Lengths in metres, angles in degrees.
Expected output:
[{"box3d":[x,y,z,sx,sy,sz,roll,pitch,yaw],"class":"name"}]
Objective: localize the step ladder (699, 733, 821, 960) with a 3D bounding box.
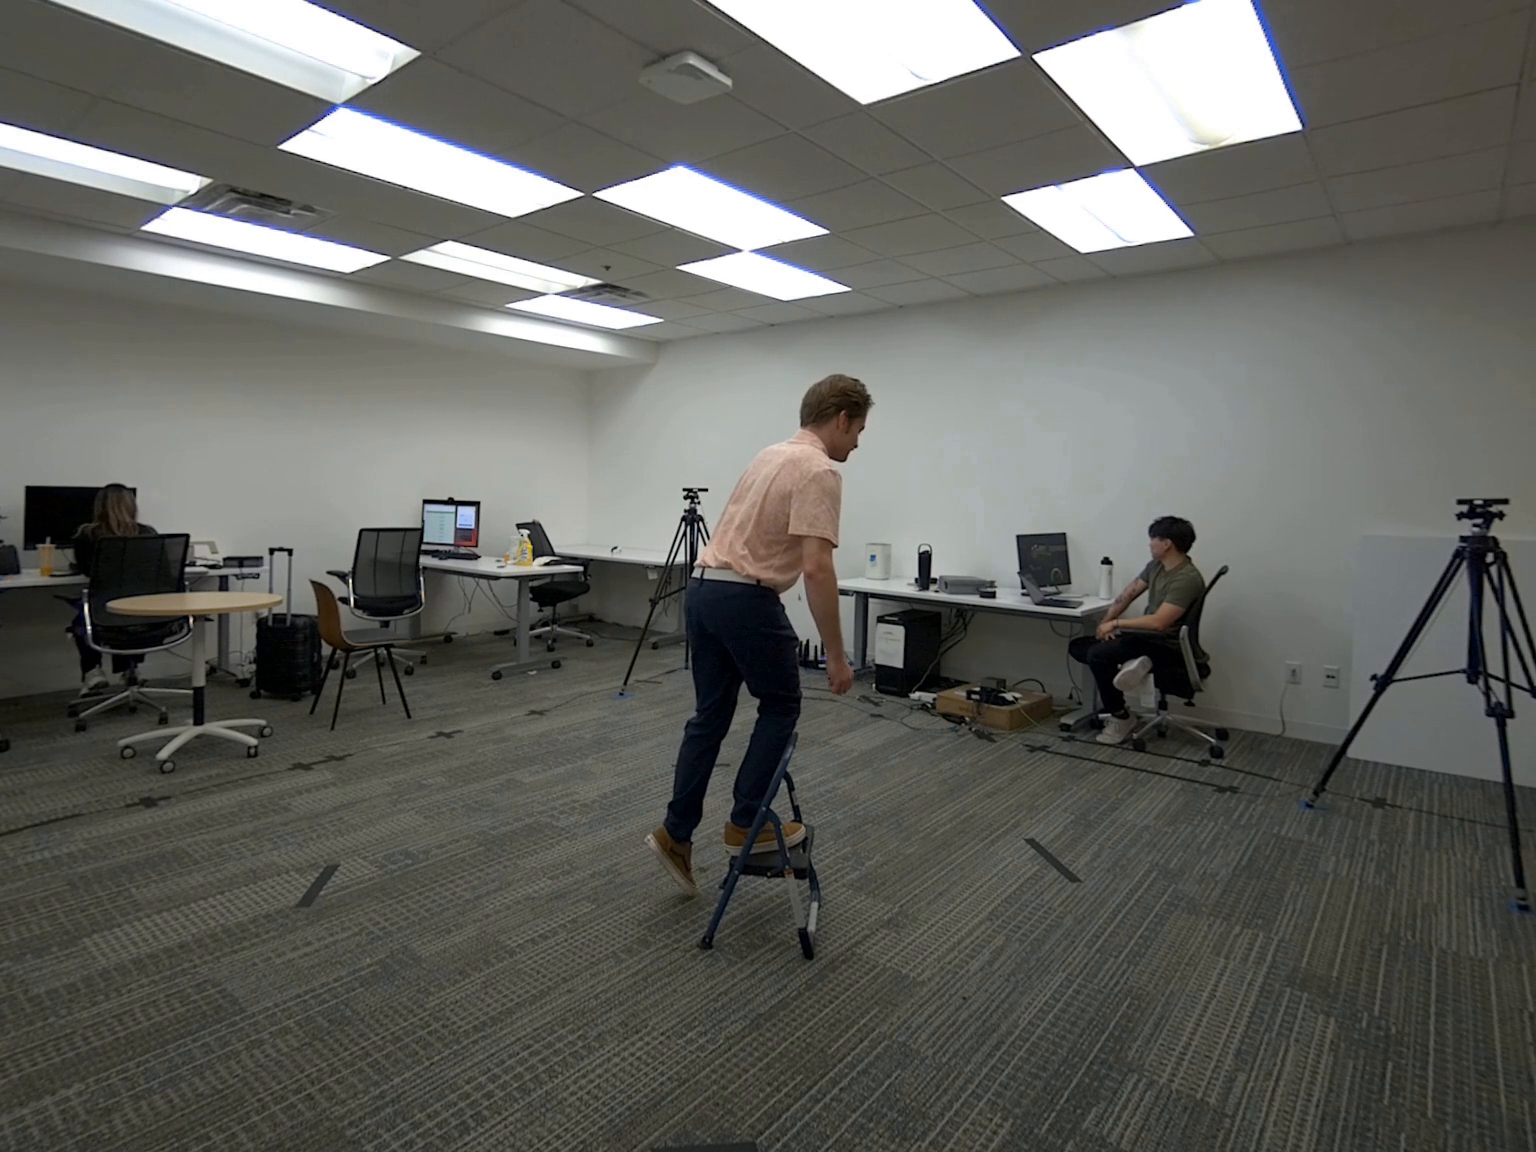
[{"box3d":[-0.010,0.811,2.729,0.352,0.604,0.428,2,4,7],"class":"step ladder"}]
